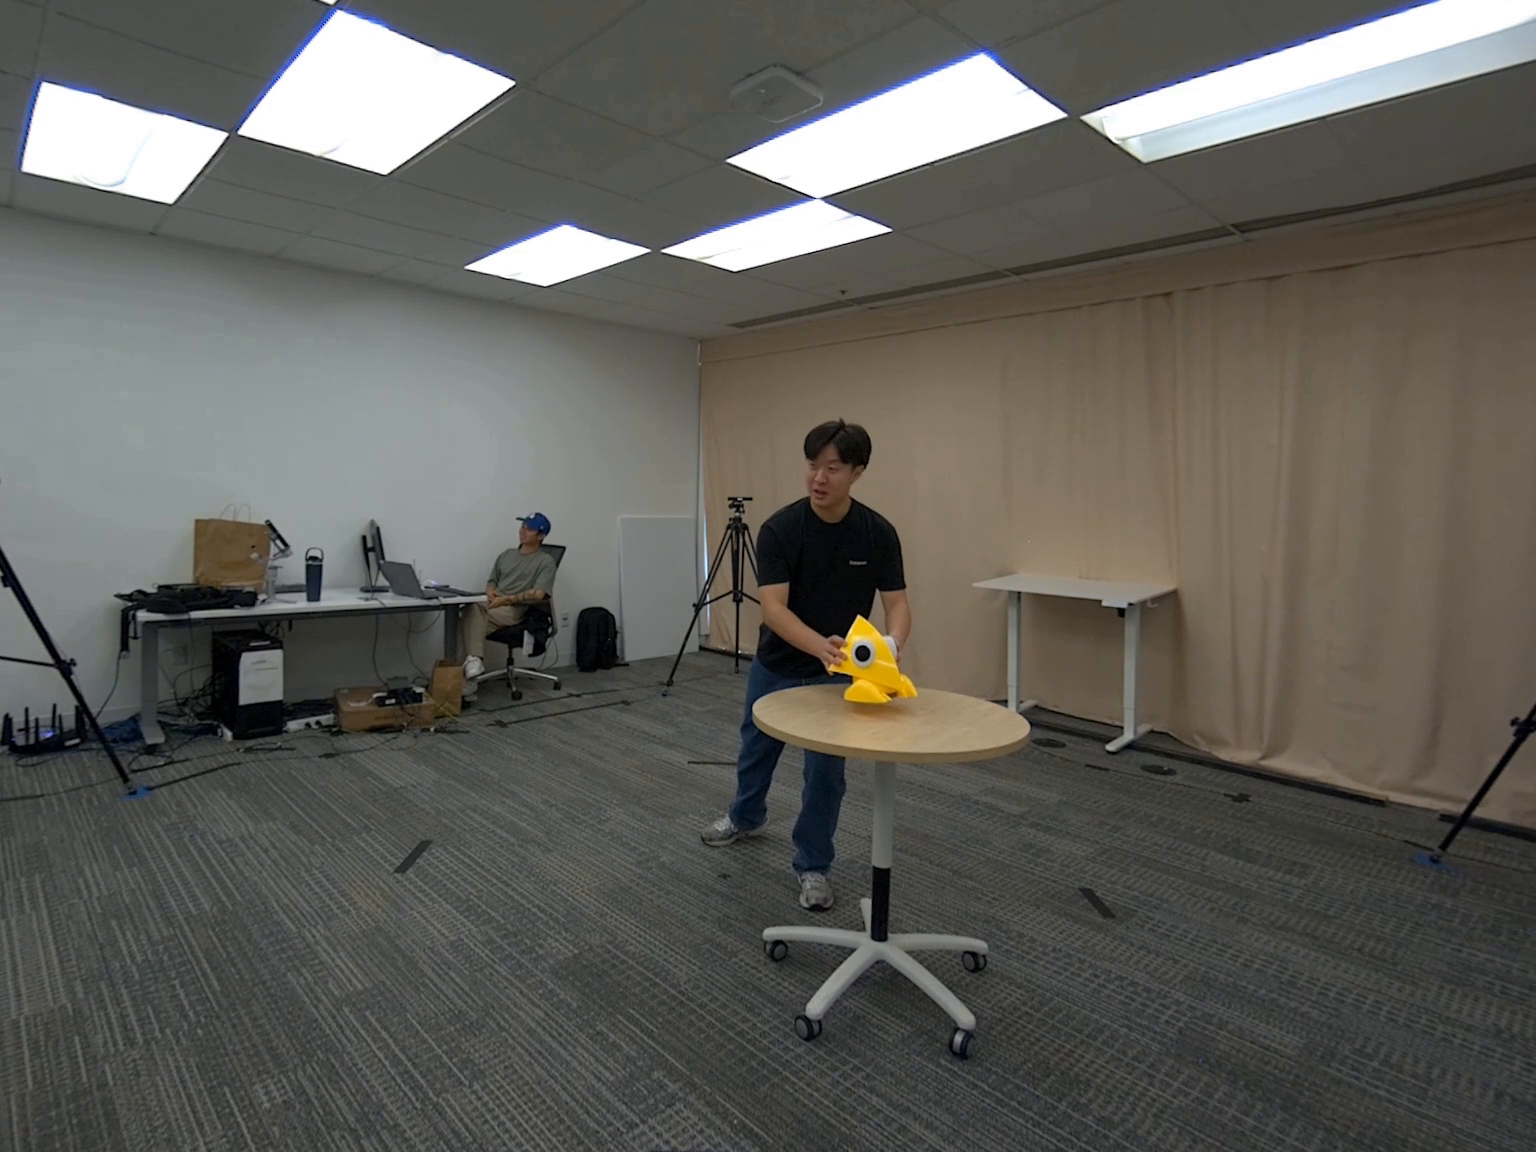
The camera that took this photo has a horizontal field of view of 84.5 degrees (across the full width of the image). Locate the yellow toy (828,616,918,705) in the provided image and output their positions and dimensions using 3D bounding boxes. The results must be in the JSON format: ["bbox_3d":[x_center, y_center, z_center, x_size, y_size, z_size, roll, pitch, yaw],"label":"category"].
[{"bbox_3d":[0.296,0.232,2.405,0.200,0.231,0.197,-2,0,-38],"label":"yellow toy"}]
